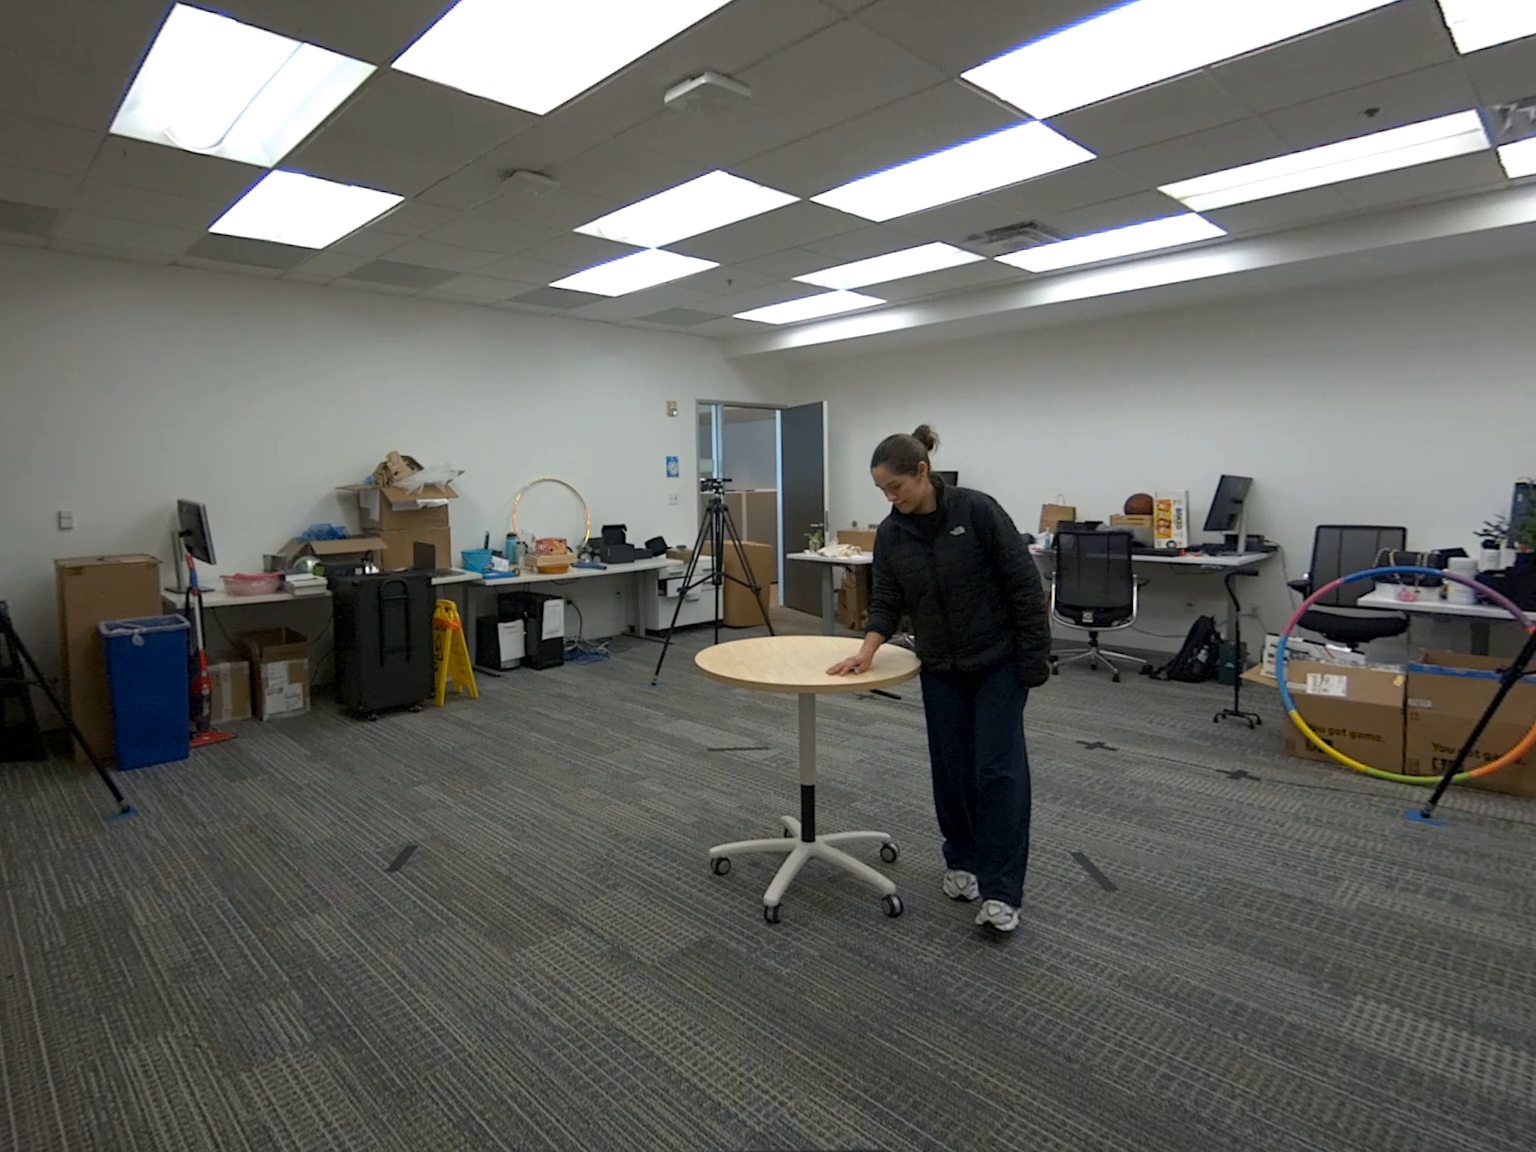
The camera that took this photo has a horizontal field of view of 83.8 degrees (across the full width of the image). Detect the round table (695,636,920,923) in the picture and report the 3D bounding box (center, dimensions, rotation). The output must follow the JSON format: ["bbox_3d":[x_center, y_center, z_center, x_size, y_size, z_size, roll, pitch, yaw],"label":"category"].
[{"bbox_3d":[0.125,0.664,2.958,0.784,0.783,0.789,-1,5,-2],"label":"round table"}]
